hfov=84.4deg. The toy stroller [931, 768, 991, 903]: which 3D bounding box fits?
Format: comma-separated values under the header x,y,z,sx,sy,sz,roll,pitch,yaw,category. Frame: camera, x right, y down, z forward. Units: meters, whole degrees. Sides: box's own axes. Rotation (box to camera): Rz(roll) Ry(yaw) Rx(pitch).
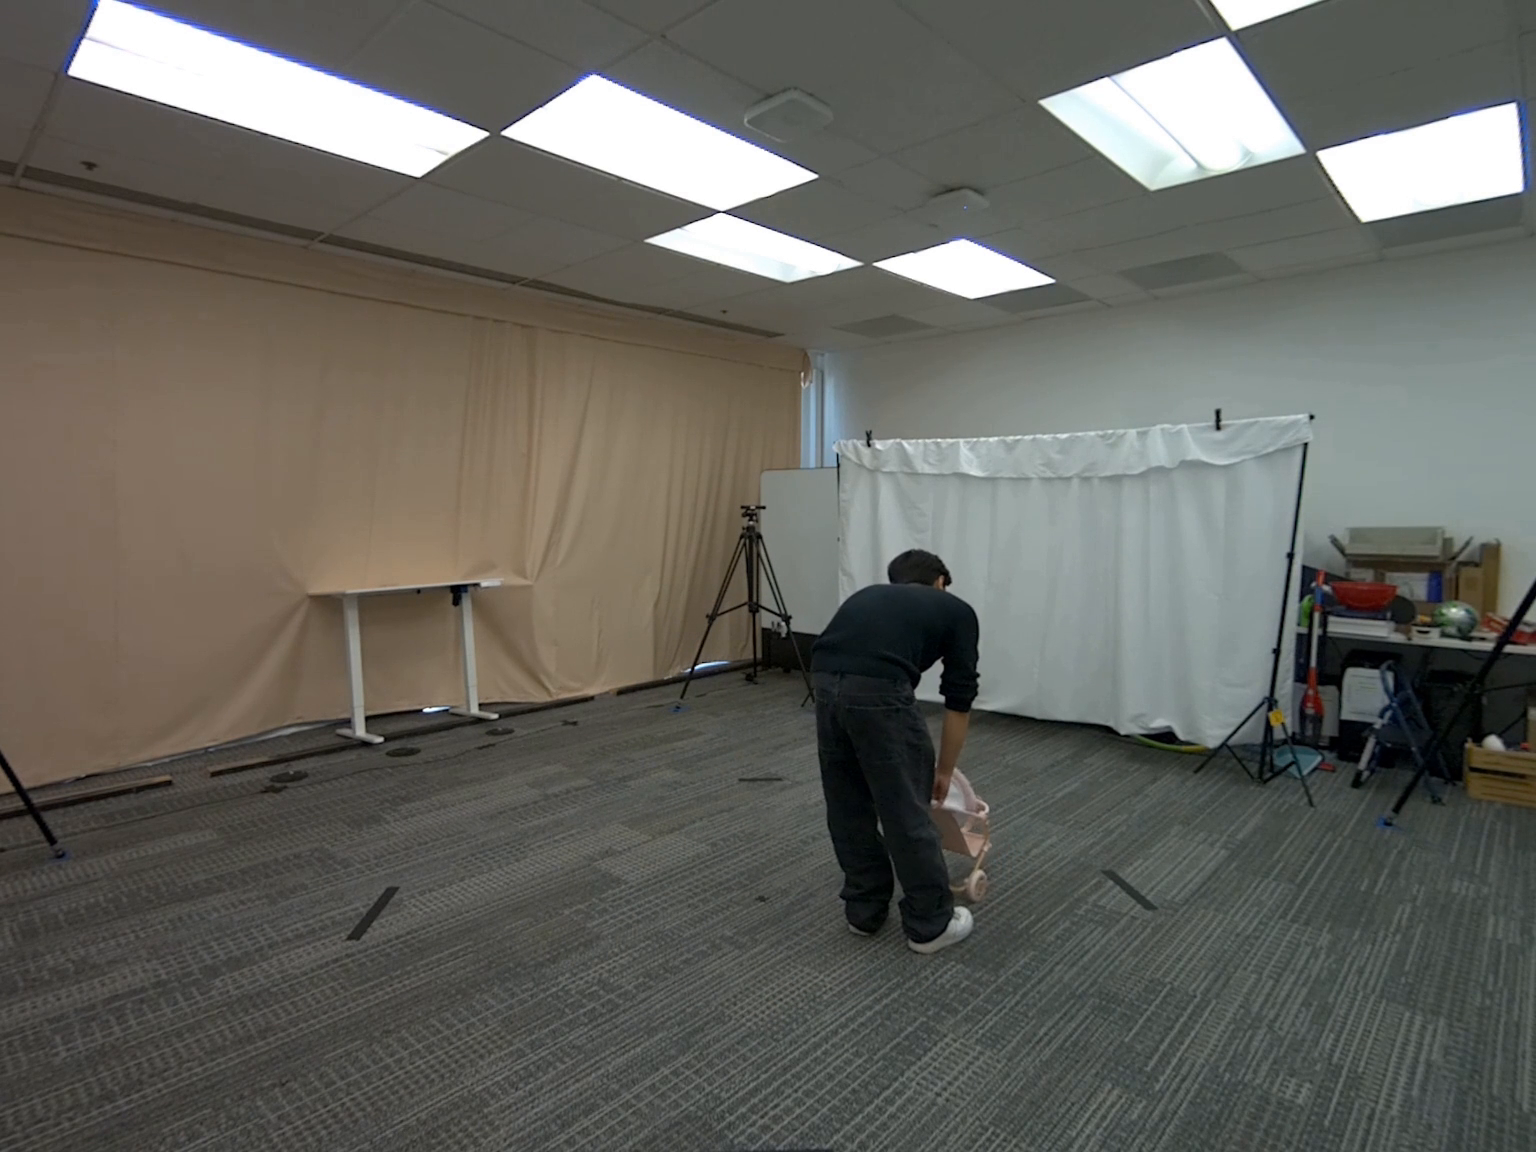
x,y,z,sx,sy,sz,roll,pitch,yaw,category
0.671,0.907,3.058,0.291,0.526,0.336,3,28,45,toy stroller
